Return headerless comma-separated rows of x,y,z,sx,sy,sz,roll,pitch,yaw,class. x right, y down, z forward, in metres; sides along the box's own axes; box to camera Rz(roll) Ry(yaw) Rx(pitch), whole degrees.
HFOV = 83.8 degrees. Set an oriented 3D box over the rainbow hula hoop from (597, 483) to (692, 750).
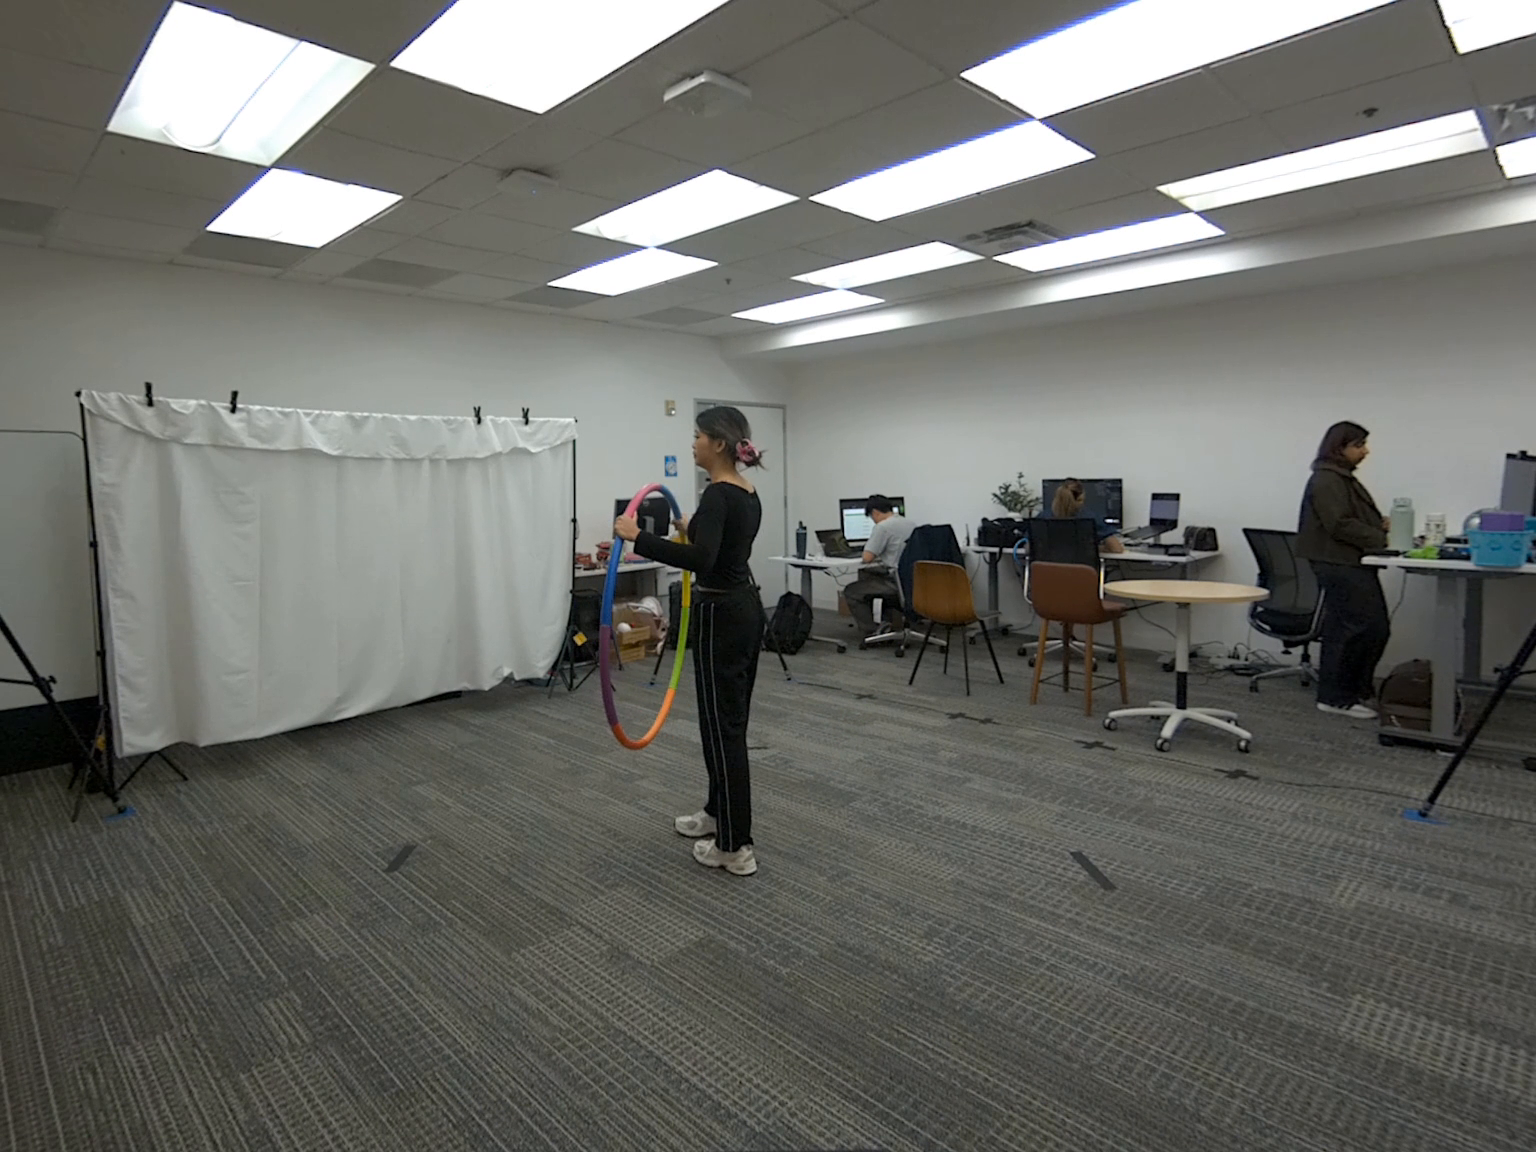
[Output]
-0.441,0.146,3.230,0.036,0.974,0.970,3,6,11,rainbow hula hoop
